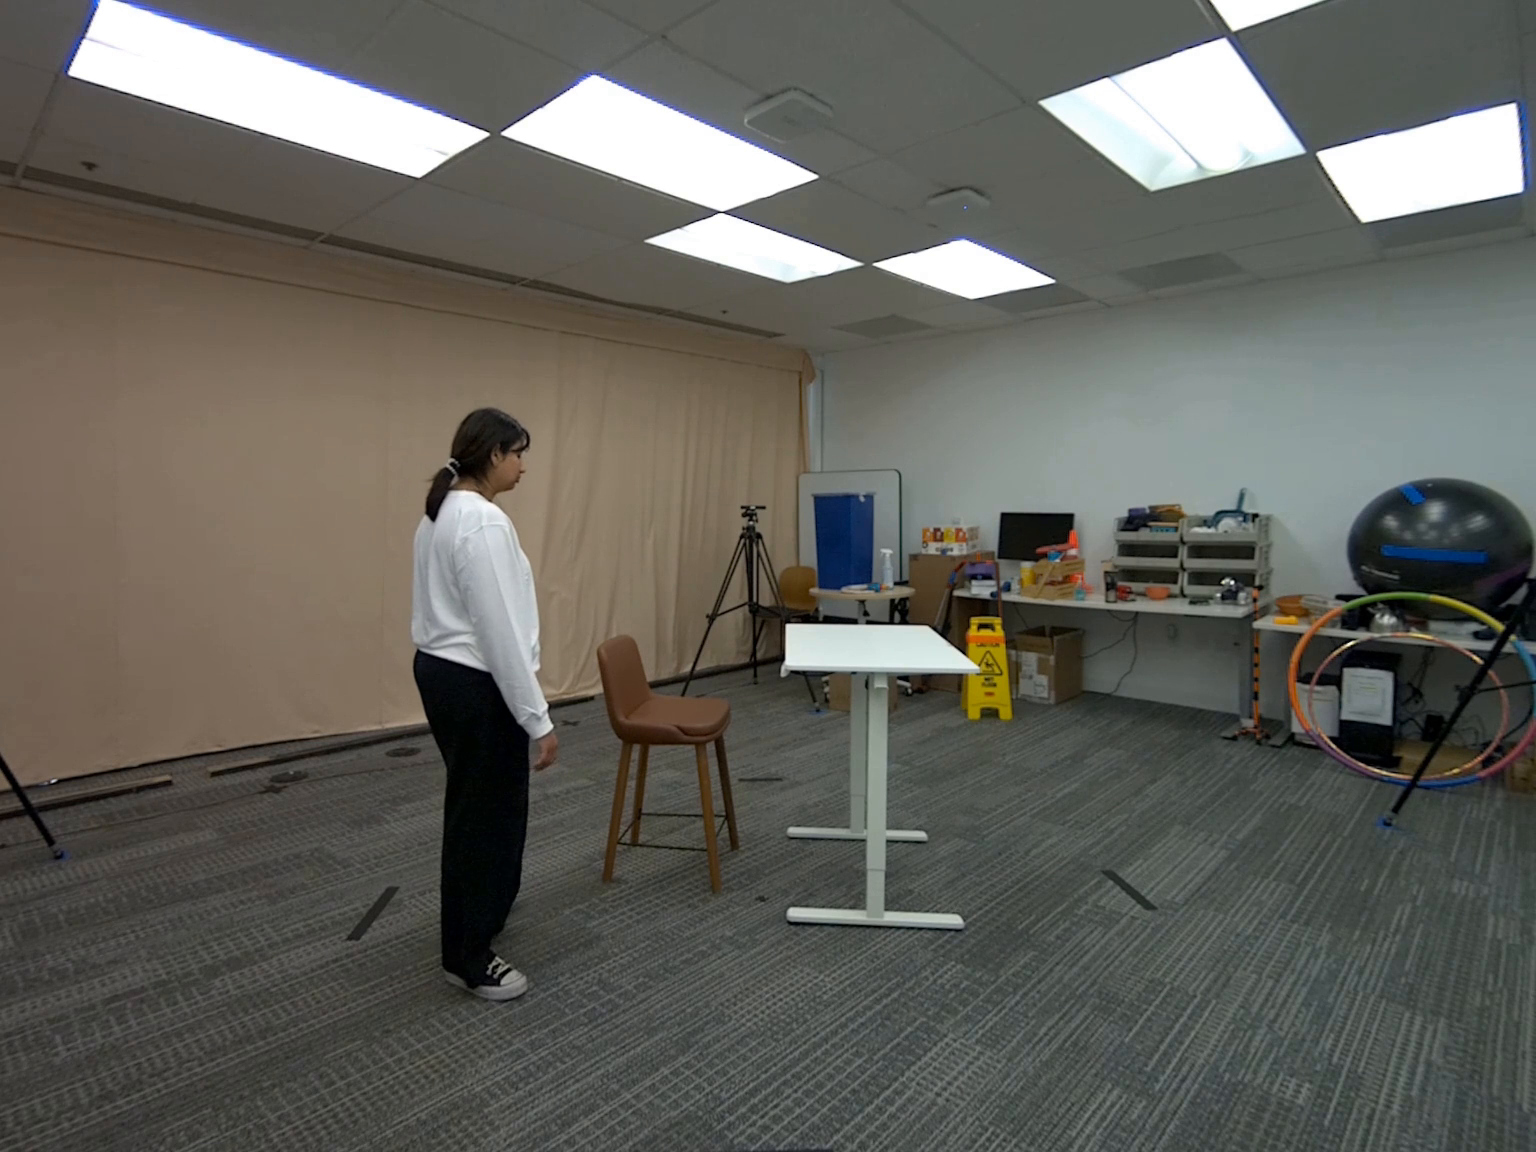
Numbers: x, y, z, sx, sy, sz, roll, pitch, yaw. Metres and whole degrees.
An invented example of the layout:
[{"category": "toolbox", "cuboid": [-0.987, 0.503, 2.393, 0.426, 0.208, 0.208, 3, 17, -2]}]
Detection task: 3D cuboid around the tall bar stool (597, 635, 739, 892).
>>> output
[{"category": "tall bar stool", "cuboid": [-0.373, 0.689, 3.245, 0.474, 0.888, 0.451, -2, 2, 11]}]
